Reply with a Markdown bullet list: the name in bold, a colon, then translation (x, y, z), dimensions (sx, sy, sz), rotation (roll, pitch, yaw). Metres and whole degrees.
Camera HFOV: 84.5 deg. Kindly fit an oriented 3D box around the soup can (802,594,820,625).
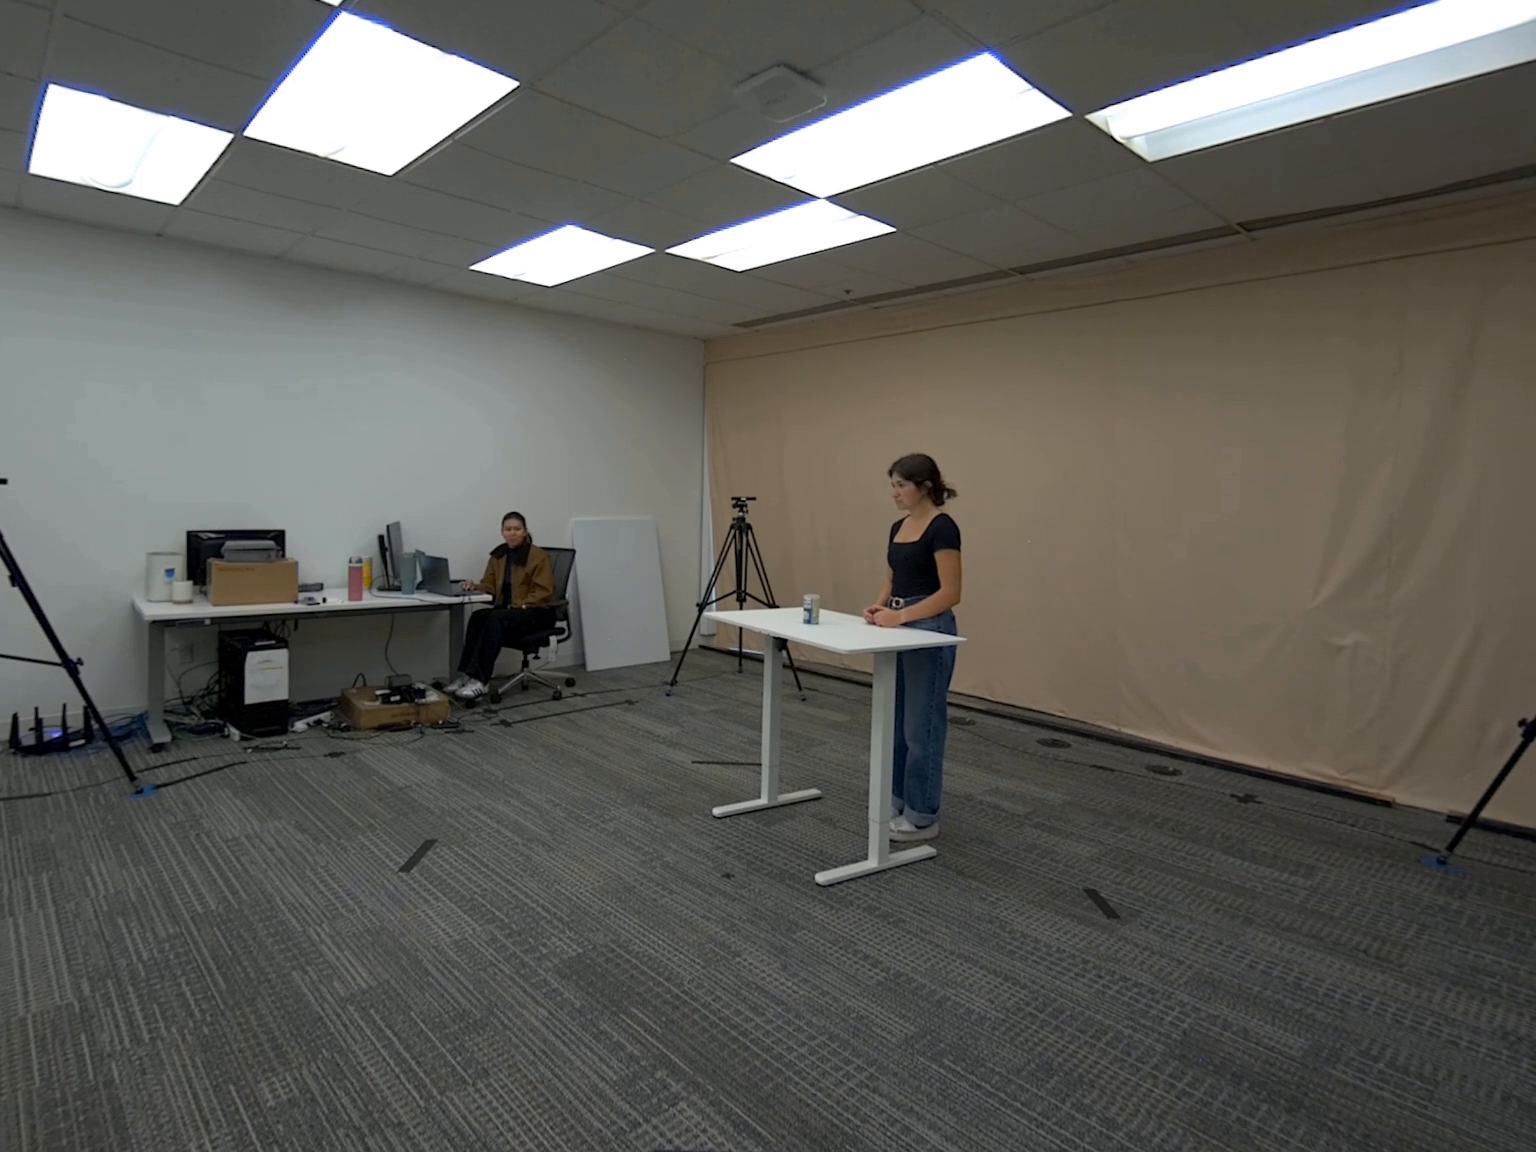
- **soup can**: translation (0.177, 0.139, 3.499), dimensions (0.067, 0.121, 0.067), rotation (1, 1, -1)
